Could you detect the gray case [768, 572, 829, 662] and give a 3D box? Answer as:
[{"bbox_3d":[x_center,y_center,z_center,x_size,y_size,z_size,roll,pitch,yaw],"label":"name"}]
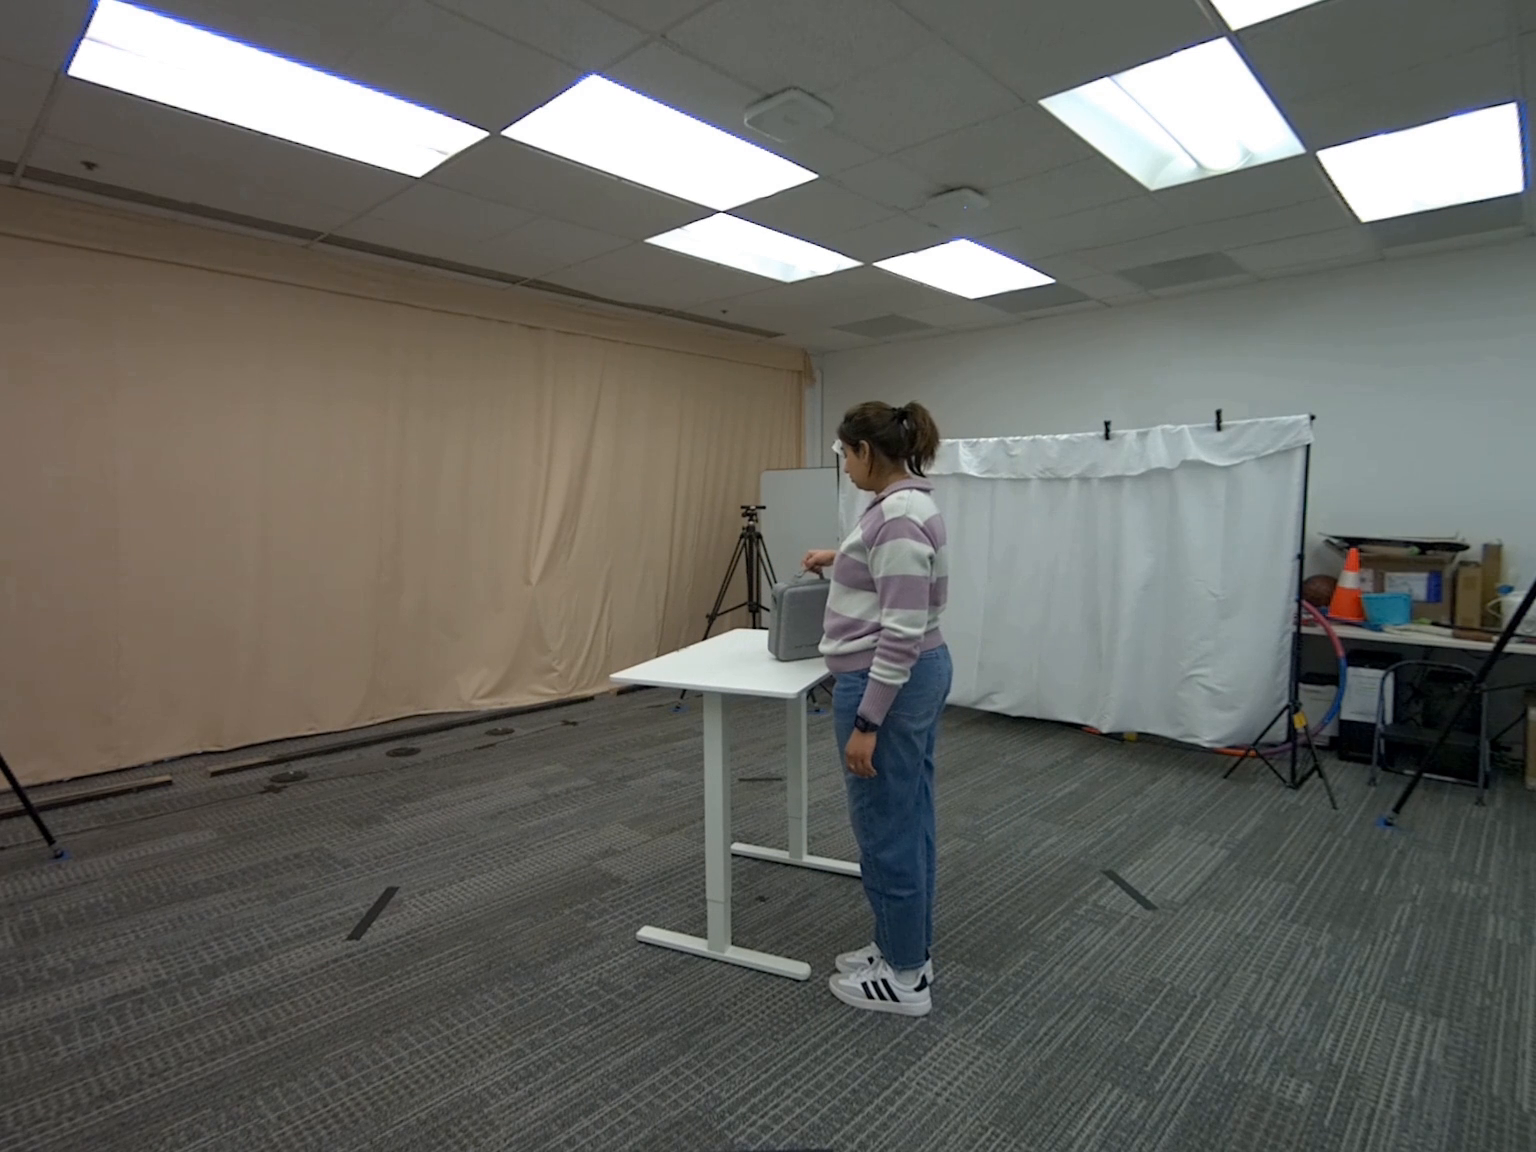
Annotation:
[{"bbox_3d":[0.128,0.139,2.794,0.250,0.259,0.108,-3,13,-28],"label":"gray case"}]
